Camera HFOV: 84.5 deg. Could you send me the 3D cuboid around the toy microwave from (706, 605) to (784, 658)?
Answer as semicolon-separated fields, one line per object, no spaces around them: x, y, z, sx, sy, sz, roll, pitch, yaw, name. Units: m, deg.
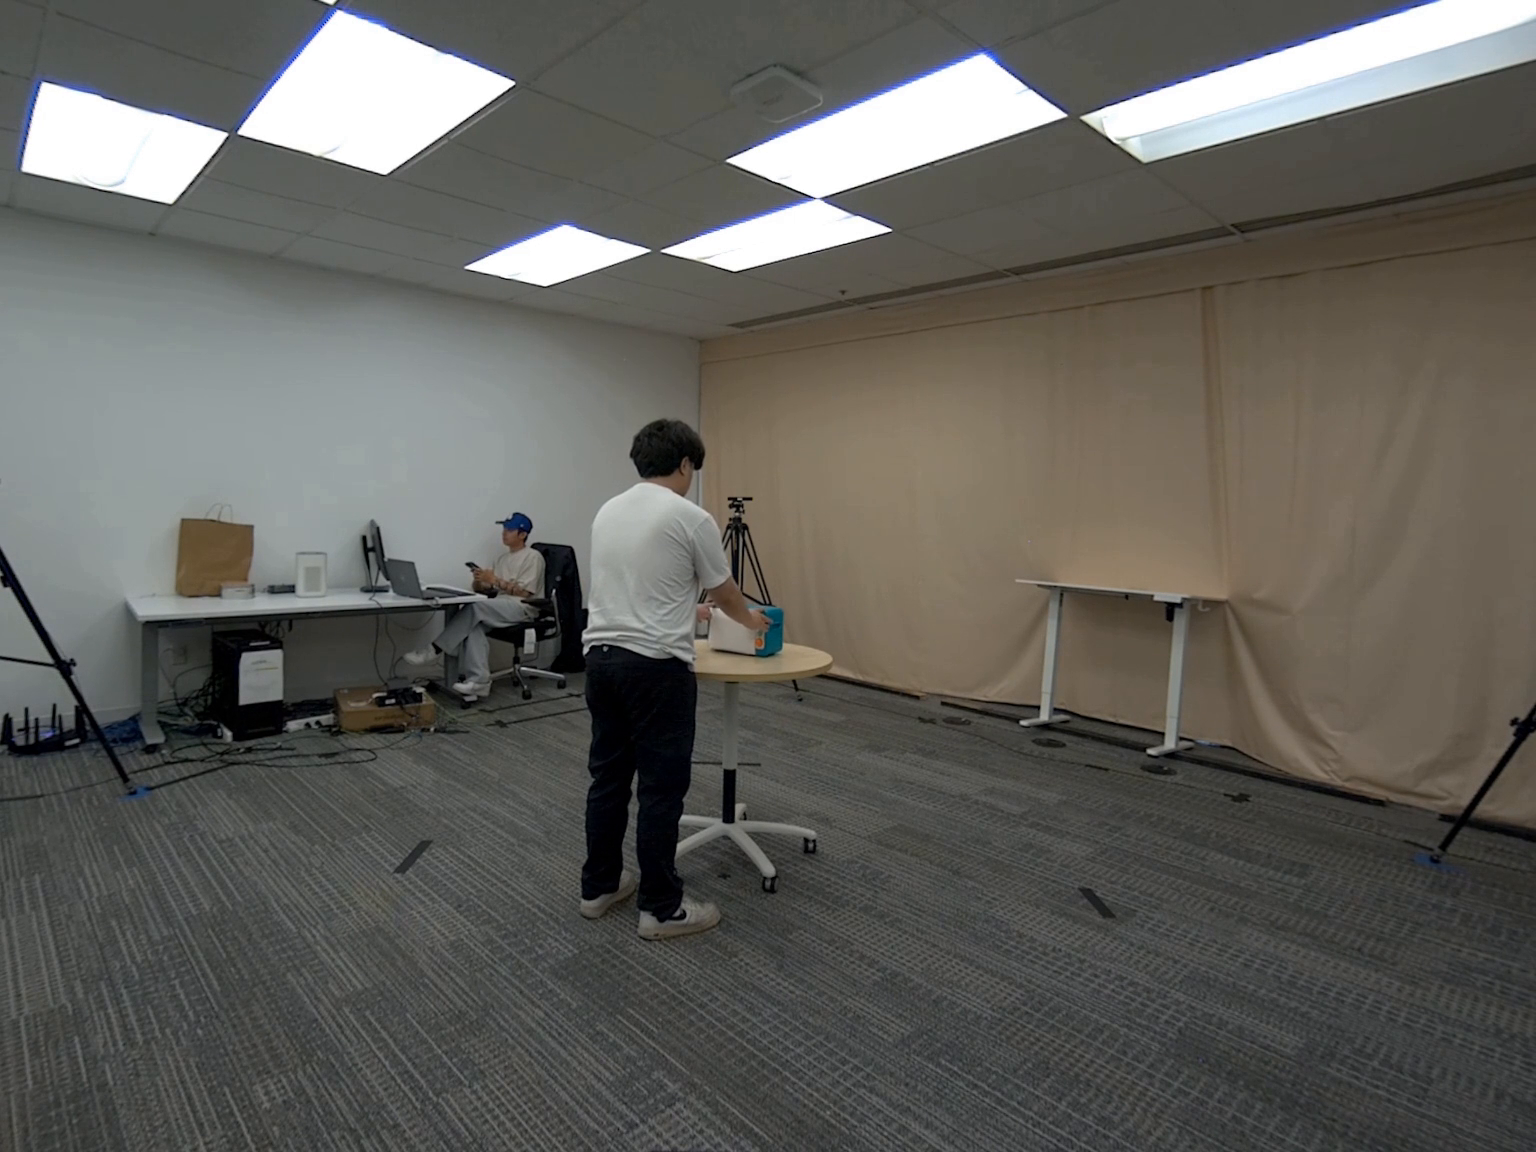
-0.103;0.208;3.287;0.293;0.184;0.149;4;4;32;toy microwave
